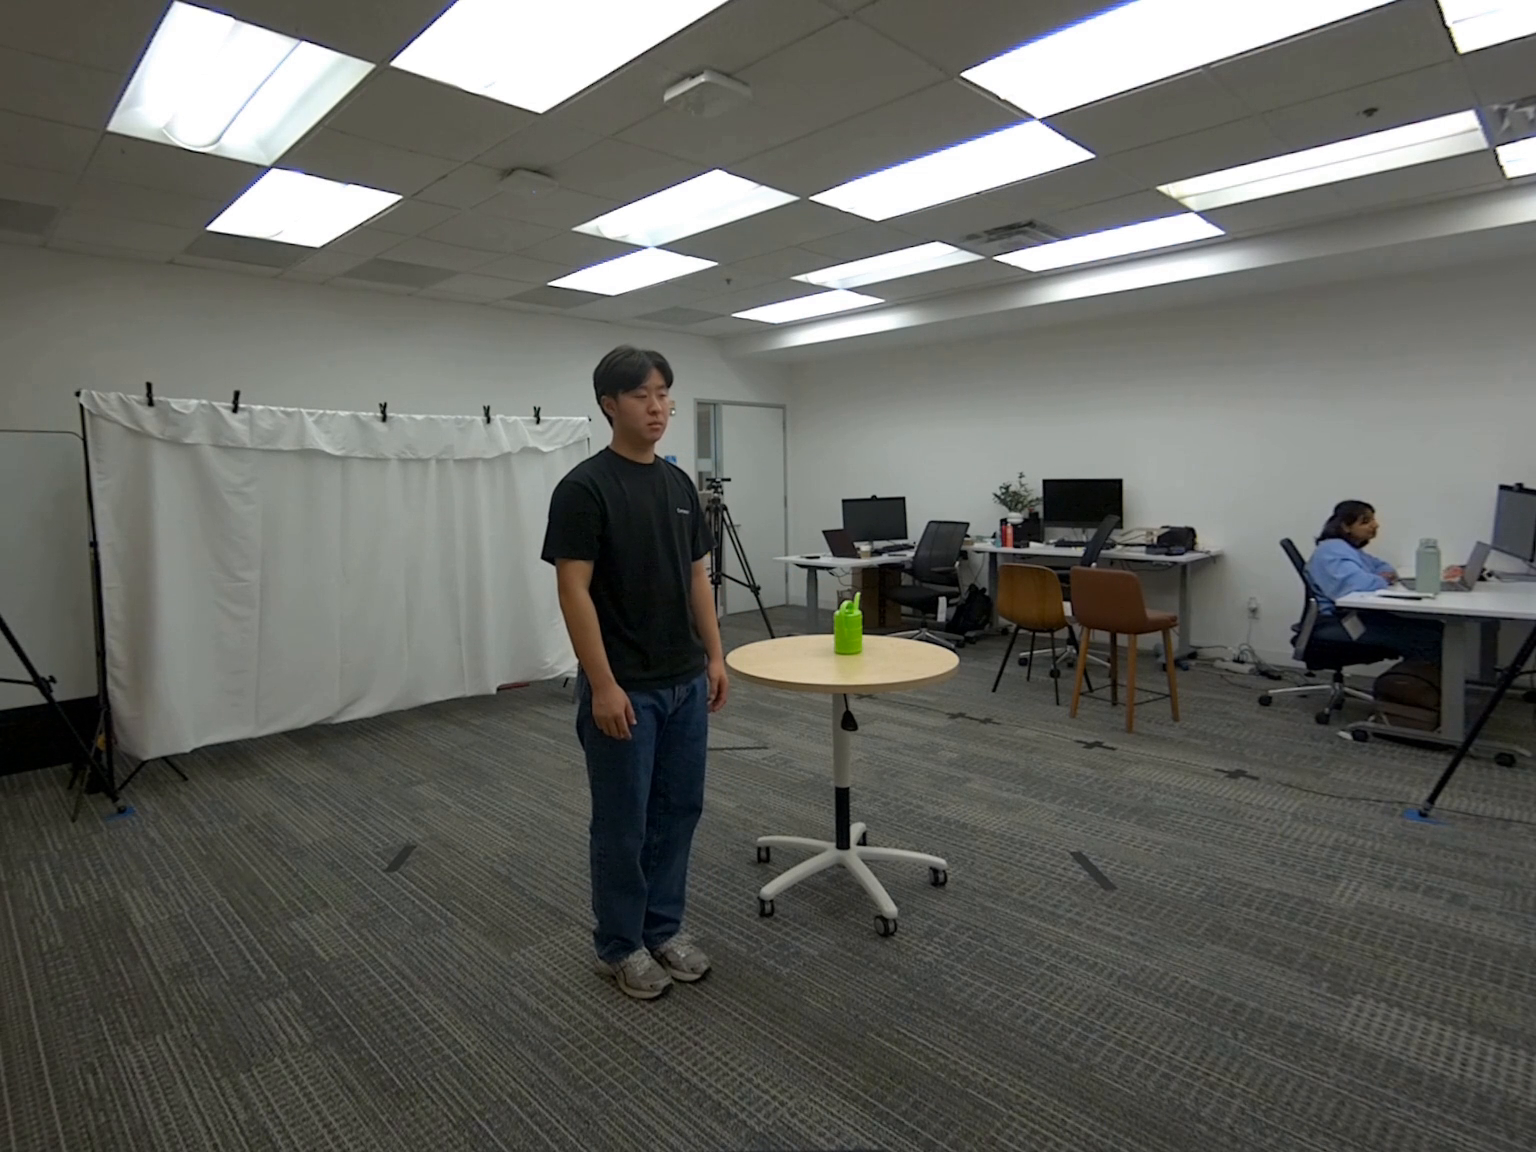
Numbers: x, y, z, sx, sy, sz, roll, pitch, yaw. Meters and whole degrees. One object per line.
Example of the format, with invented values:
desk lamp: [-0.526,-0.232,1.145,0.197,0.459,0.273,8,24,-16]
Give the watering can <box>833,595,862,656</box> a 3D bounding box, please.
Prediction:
watering can: [0.296,0.166,2.966,0.100,0.175,0.273,3,10,30]
